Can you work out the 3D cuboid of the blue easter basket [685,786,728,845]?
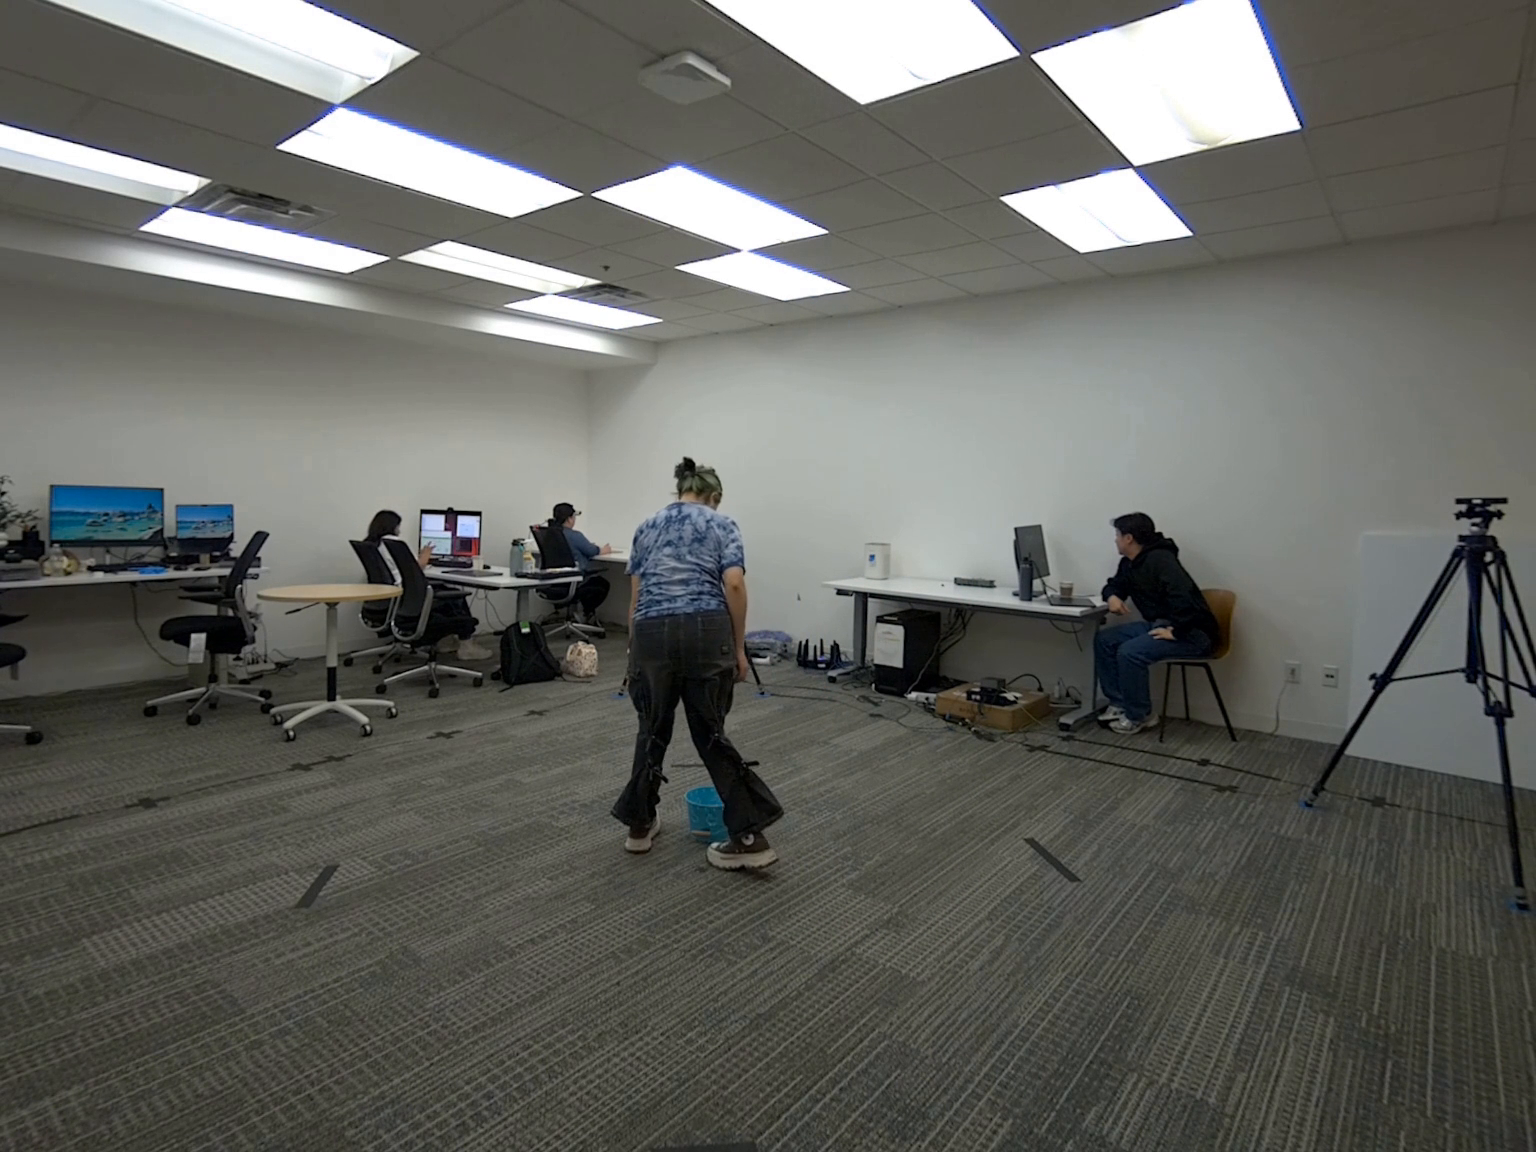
[{"bbox_3d":[-0.240,0.957,3.436,0.243,0.155,0.245,0,5,-2],"label":"blue easter basket"}]
